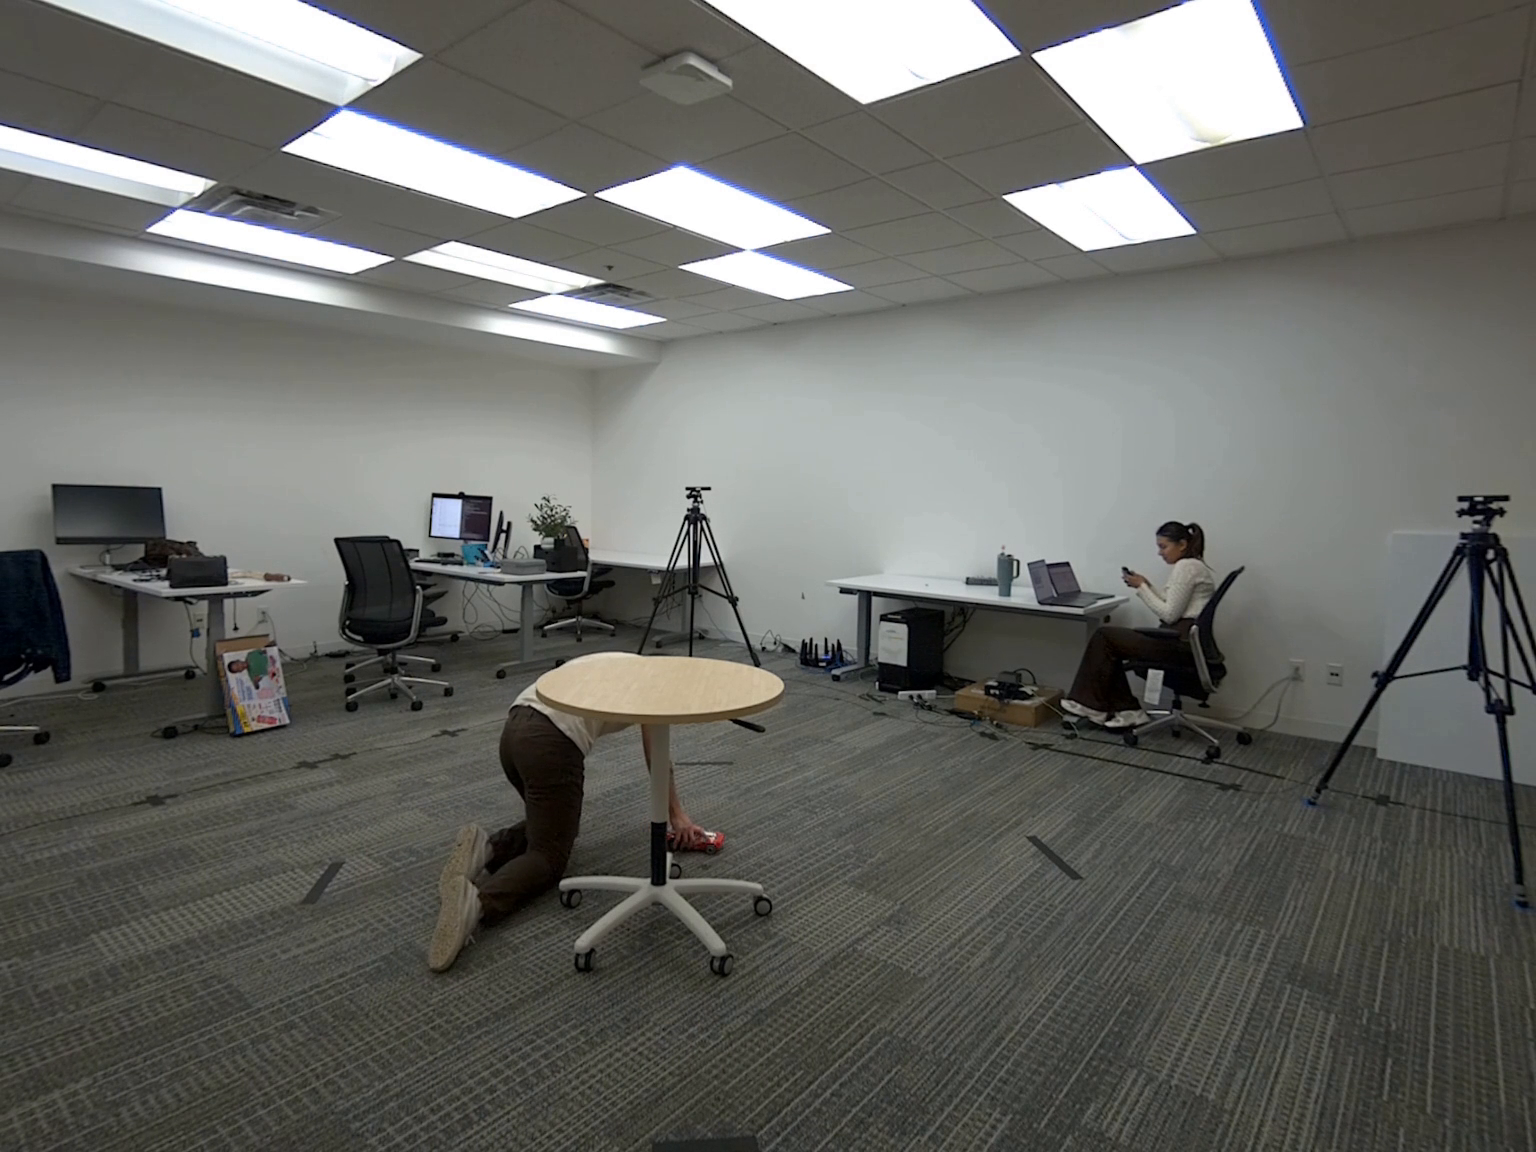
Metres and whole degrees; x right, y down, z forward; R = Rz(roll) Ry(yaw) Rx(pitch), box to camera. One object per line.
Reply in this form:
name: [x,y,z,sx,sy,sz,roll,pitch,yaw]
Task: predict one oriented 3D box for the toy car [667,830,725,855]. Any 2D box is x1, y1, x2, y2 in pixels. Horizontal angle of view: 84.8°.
toy car: [-0.312,1.022,3.297,0.258,0.083,0.129,11,7,11]
